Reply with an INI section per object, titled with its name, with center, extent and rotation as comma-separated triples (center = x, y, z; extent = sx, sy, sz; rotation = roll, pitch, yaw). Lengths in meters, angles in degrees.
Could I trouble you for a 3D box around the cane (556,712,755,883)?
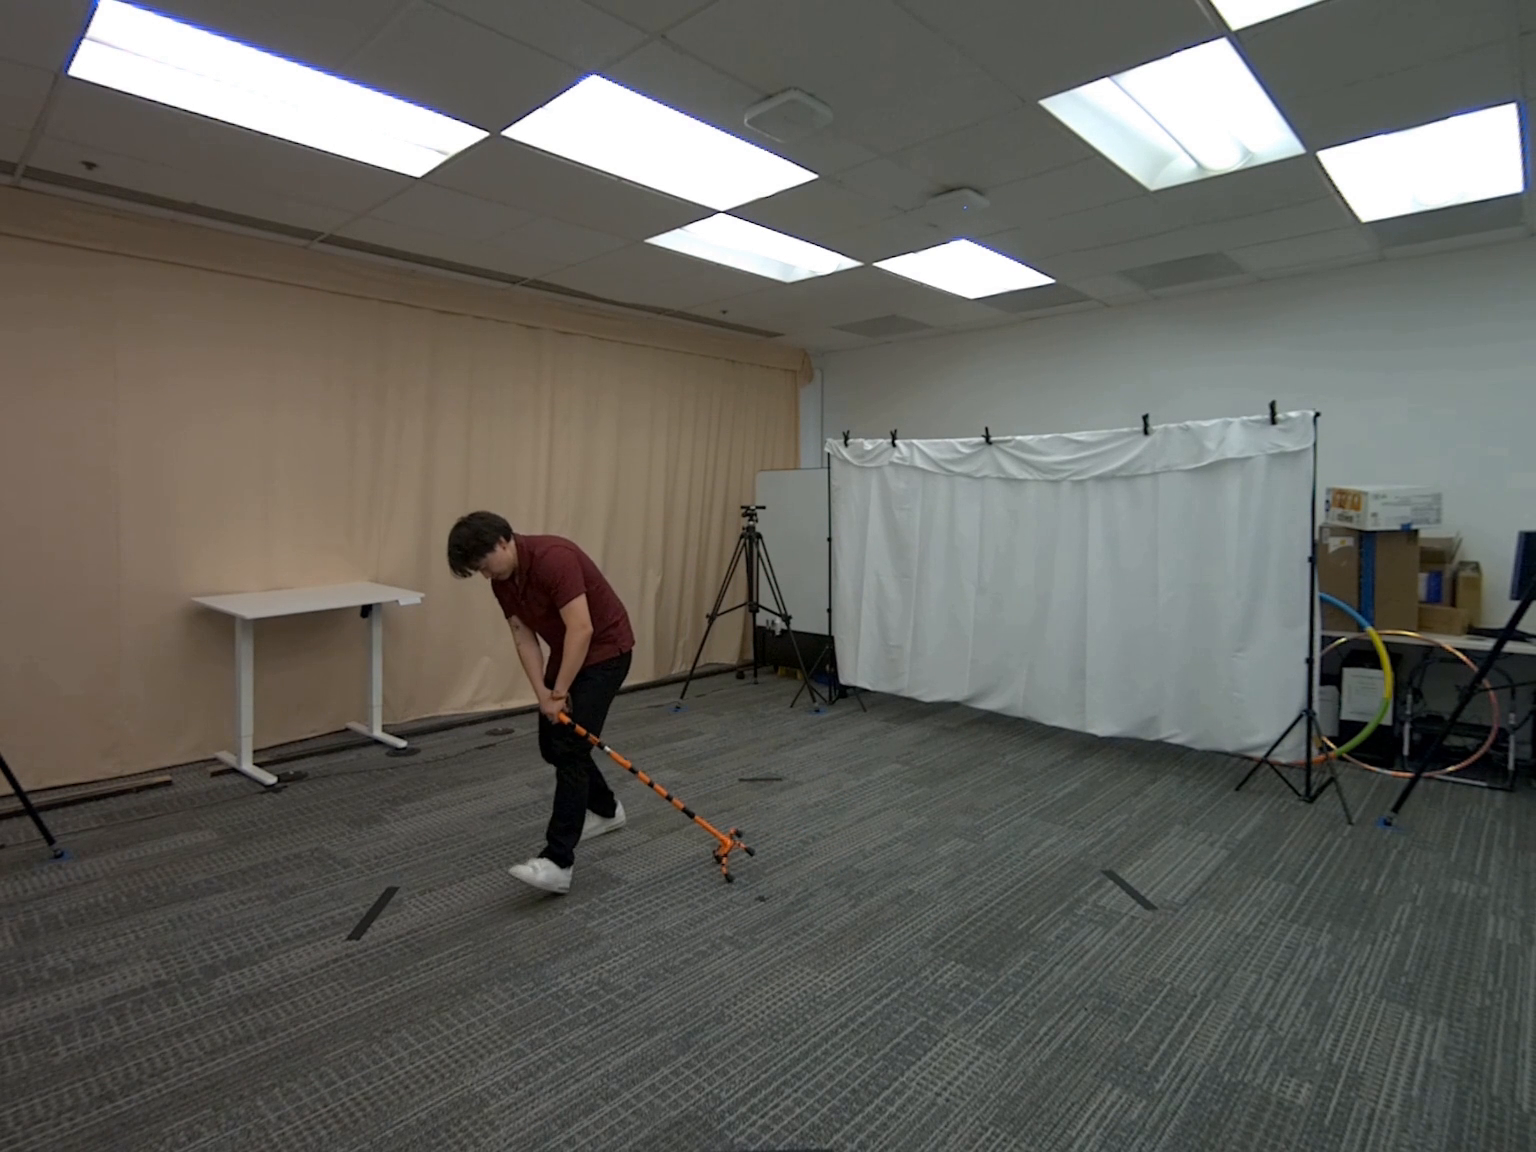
[cane]
center = -0.444, 0.788, 3.111
extent = 0.895, 0.151, 0.209
rotation = 40, -7, -11
